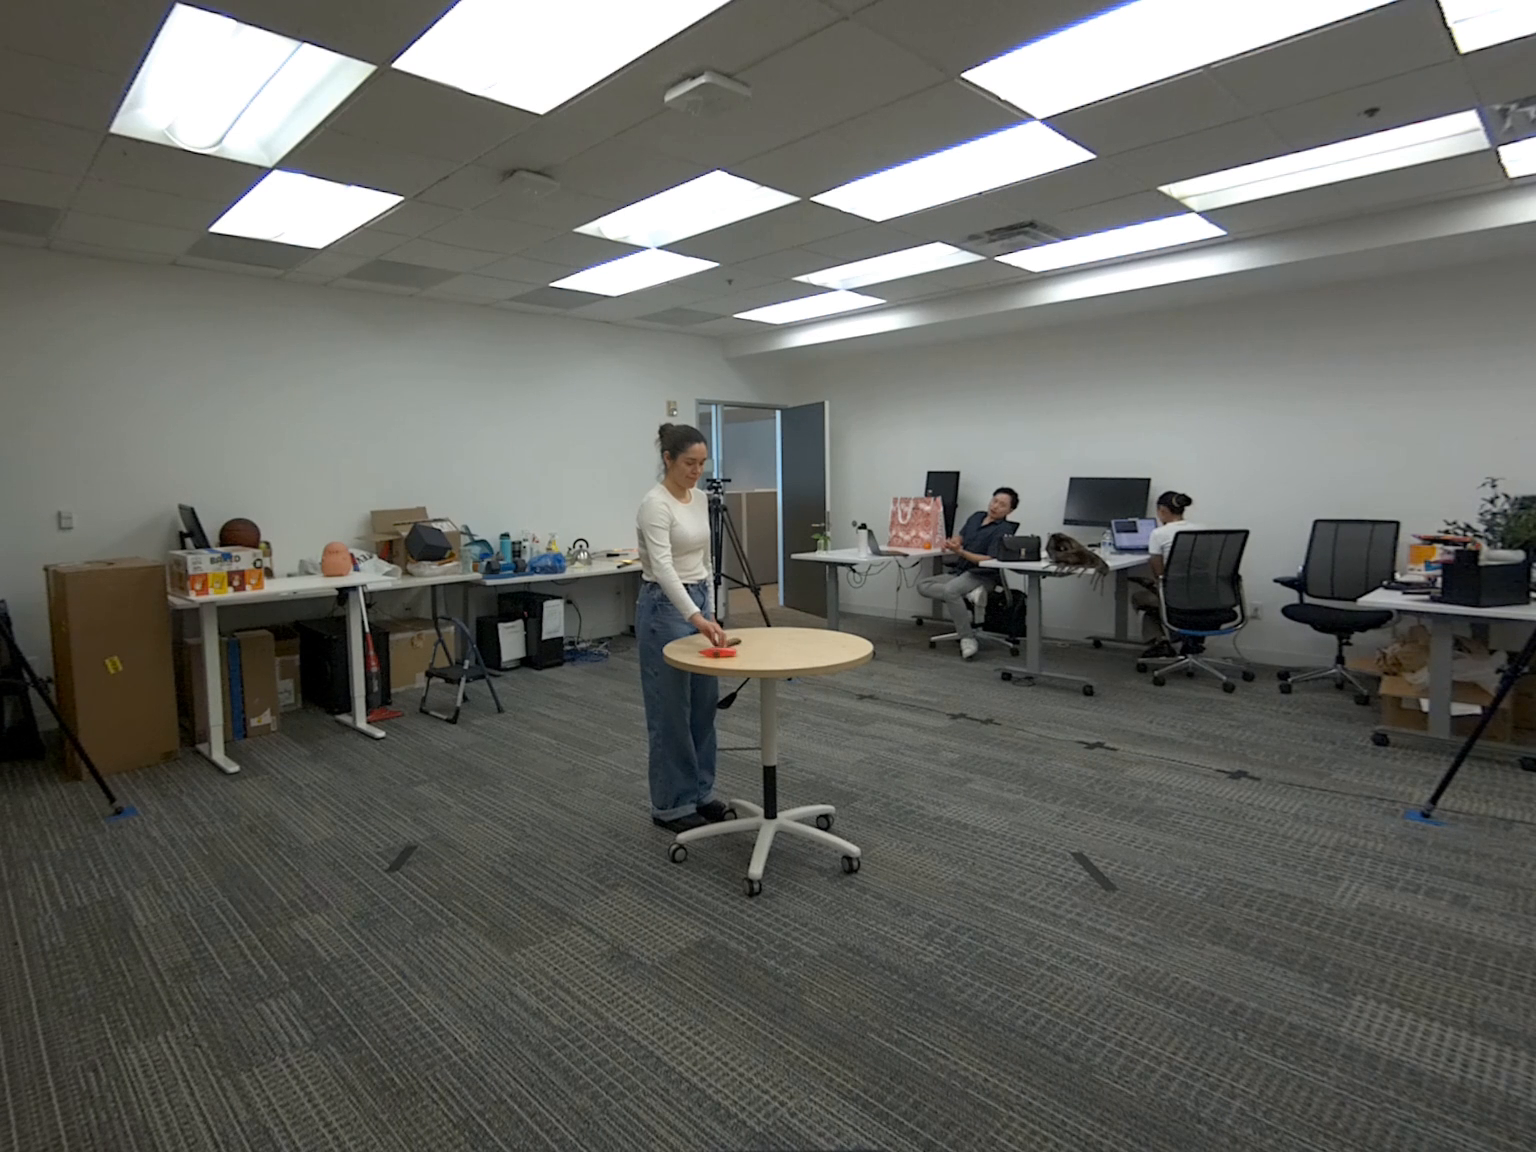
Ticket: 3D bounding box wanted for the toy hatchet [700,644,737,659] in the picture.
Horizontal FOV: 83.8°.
[{"bbox_3d":[-0.139,0.258,3.075,0.134,0.029,0.264,0,6,27],"label":"toy hatchet"}]
